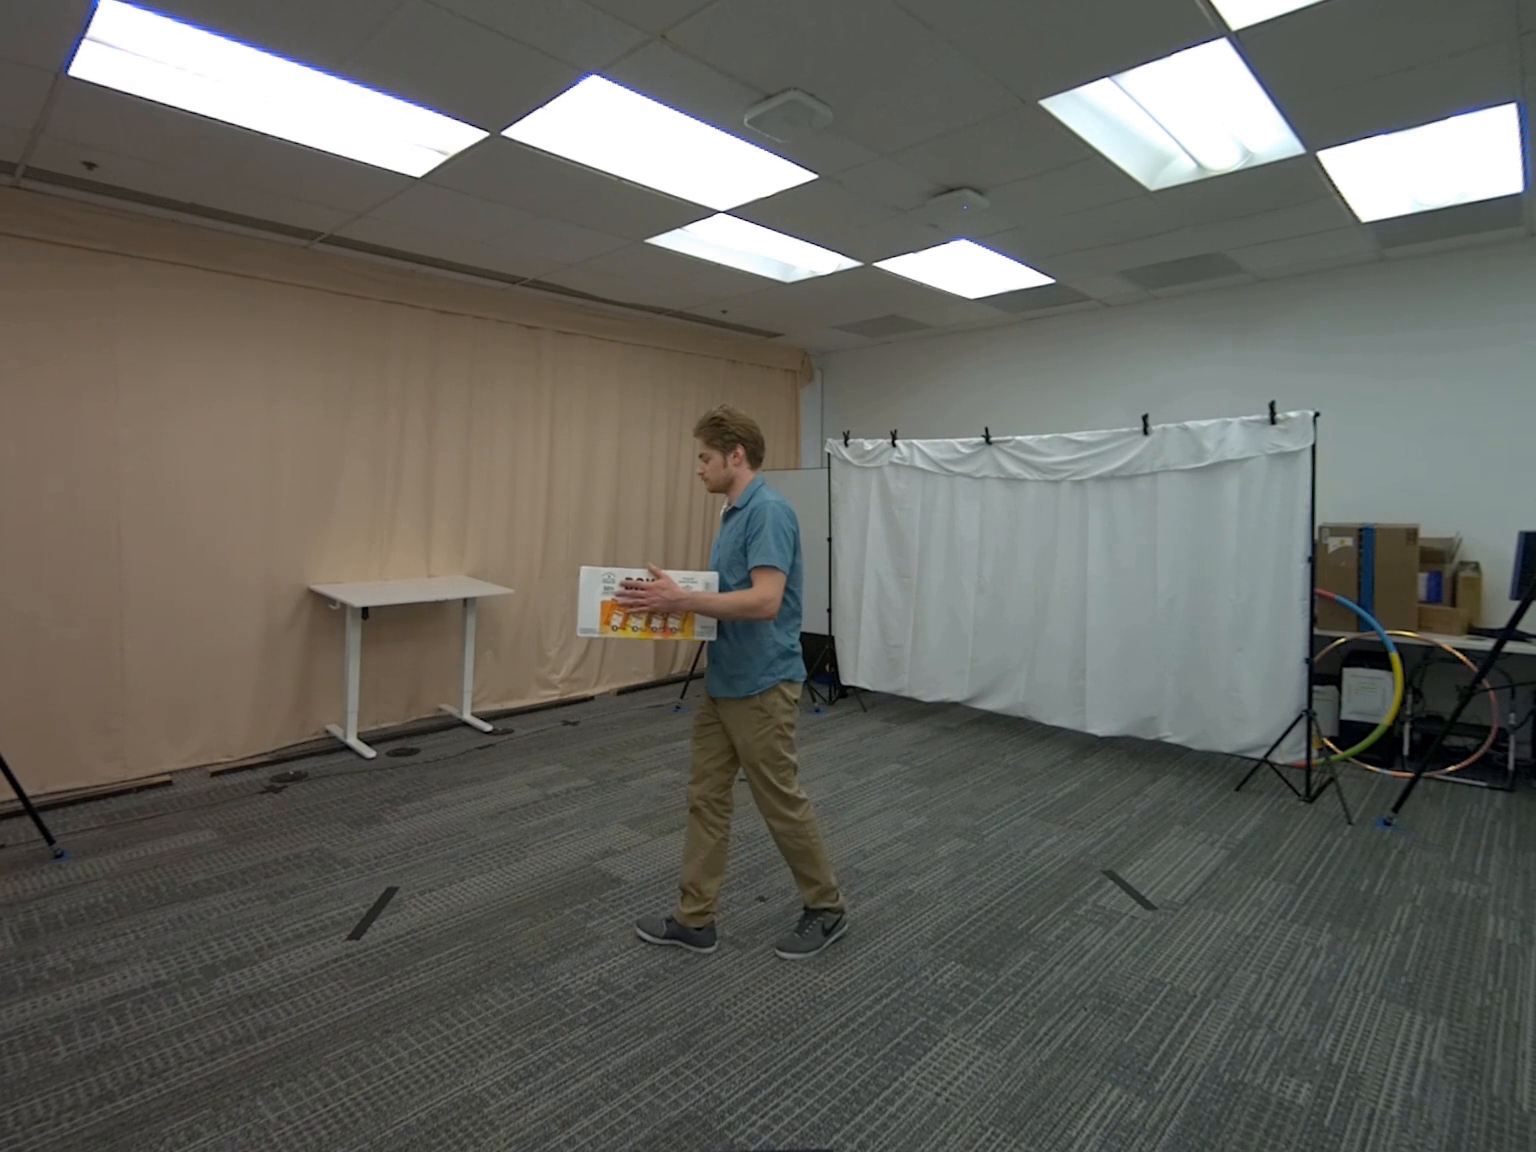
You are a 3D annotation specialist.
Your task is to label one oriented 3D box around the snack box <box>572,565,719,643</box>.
[{"bbox_3d":[-0.383,0.081,2.578,0.400,0.206,0.344,2,-2,-13],"label":"snack box"}]
